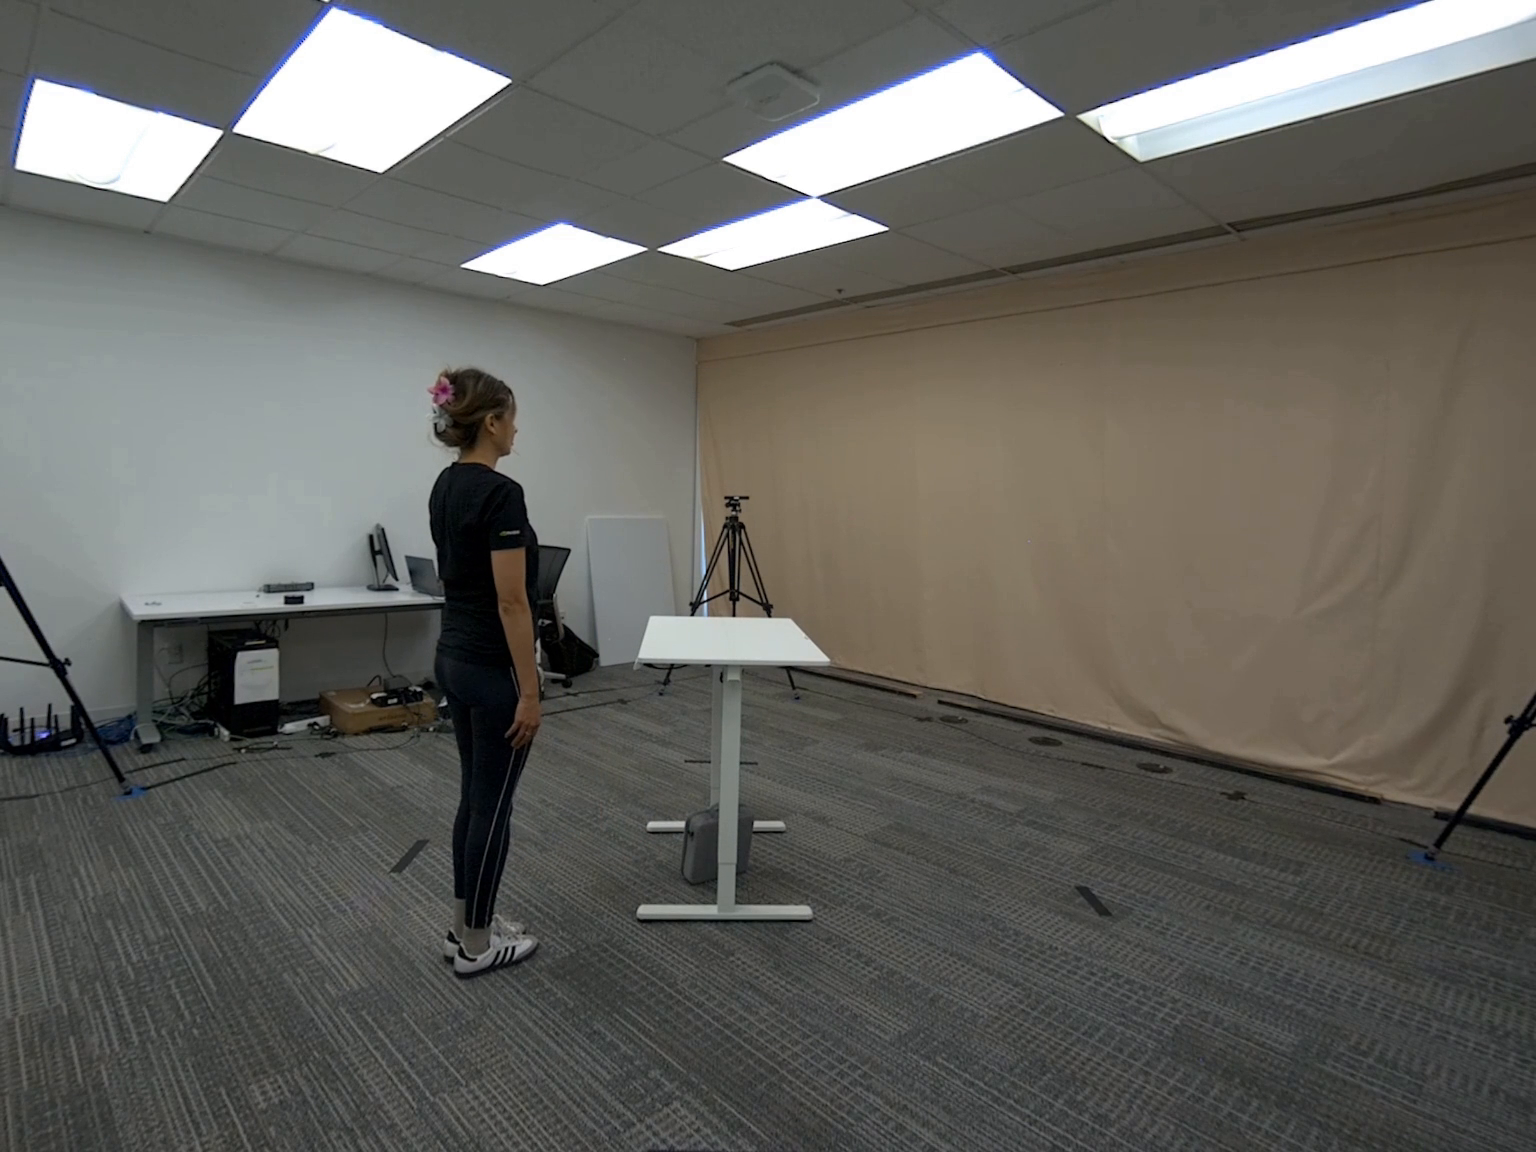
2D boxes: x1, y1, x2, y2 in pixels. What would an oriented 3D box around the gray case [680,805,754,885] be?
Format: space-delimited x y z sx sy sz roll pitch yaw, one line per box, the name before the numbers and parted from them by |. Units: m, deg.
gray case | -0.188 0.975 3.080 0.252 0.258 0.107 -2 15 -31
